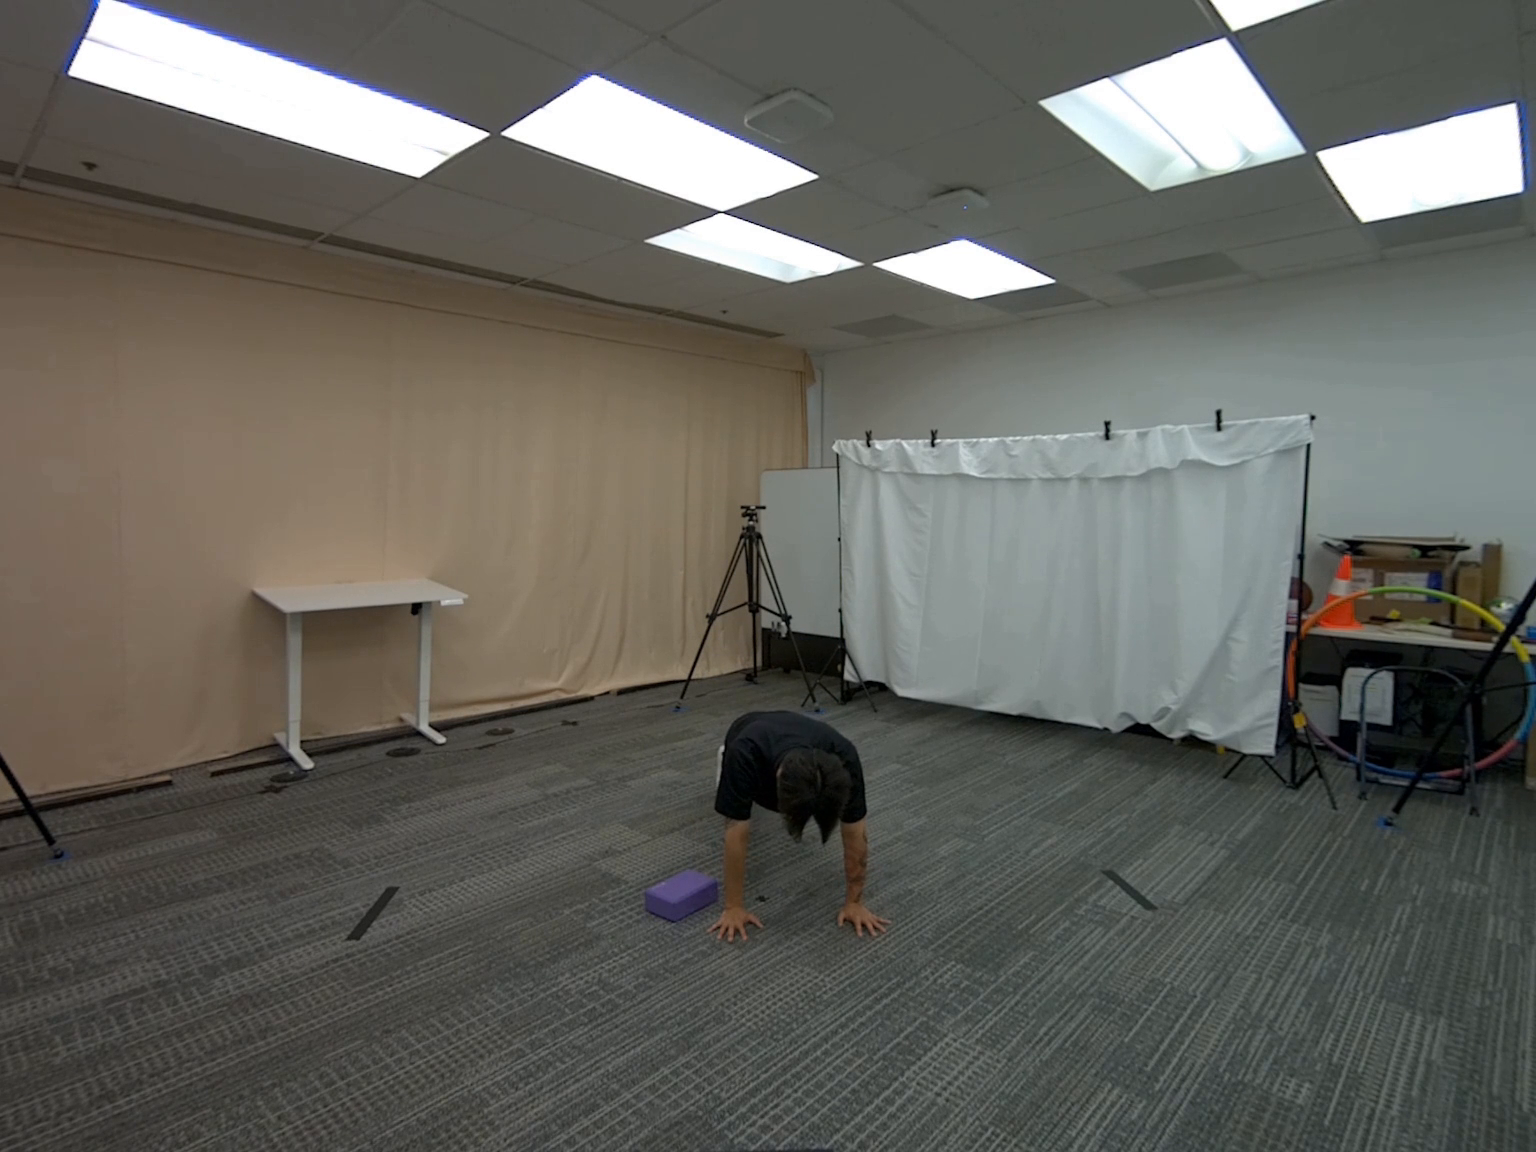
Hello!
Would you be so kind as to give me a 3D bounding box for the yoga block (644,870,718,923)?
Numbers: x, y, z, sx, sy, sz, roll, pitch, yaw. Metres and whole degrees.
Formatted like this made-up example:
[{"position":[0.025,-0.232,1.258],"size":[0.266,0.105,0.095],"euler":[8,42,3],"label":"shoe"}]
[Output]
[{"position":[-0.299,1.110,2.931],"size":[0.154,0.076,0.222],"euler":[3,6,38],"label":"yoga block"}]
